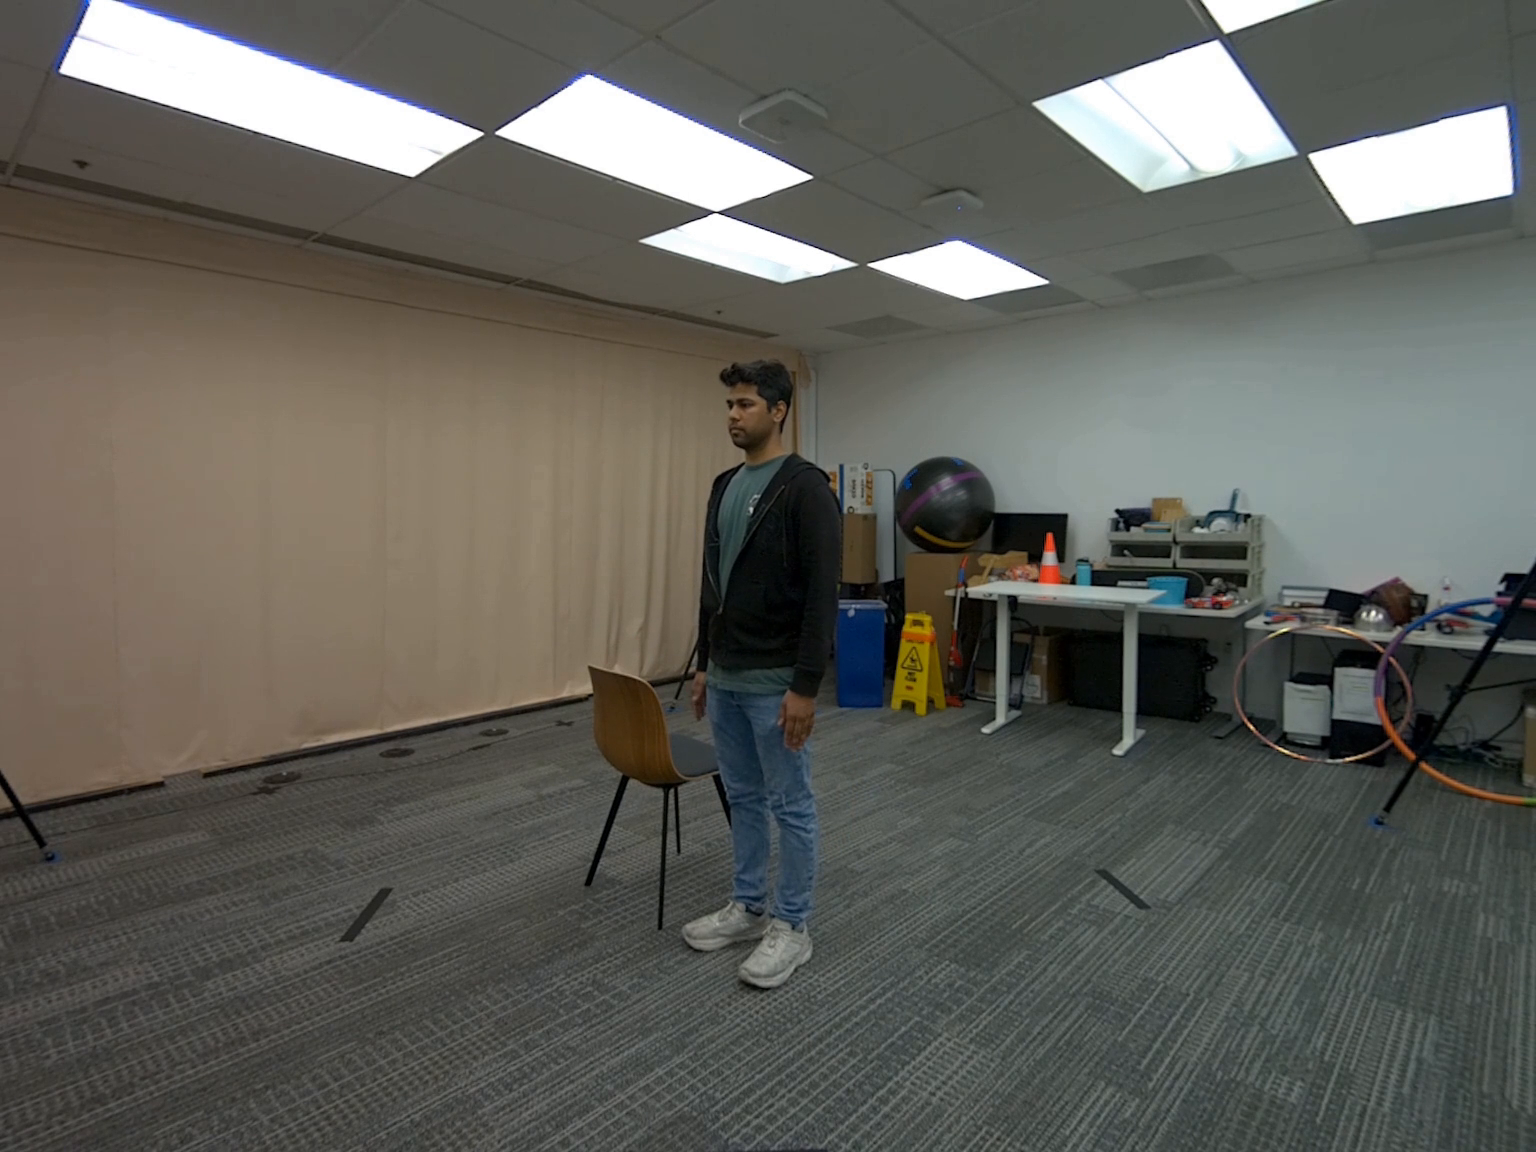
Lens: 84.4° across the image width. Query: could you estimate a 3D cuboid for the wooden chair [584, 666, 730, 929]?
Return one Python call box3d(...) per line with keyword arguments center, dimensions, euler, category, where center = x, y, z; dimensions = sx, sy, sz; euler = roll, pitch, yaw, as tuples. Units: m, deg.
box3d(center=(-0.352, 0.714, 3.057), dimensions=(0.508, 0.874, 0.494), euler=(-9, 8, -43), category="wooden chair")
